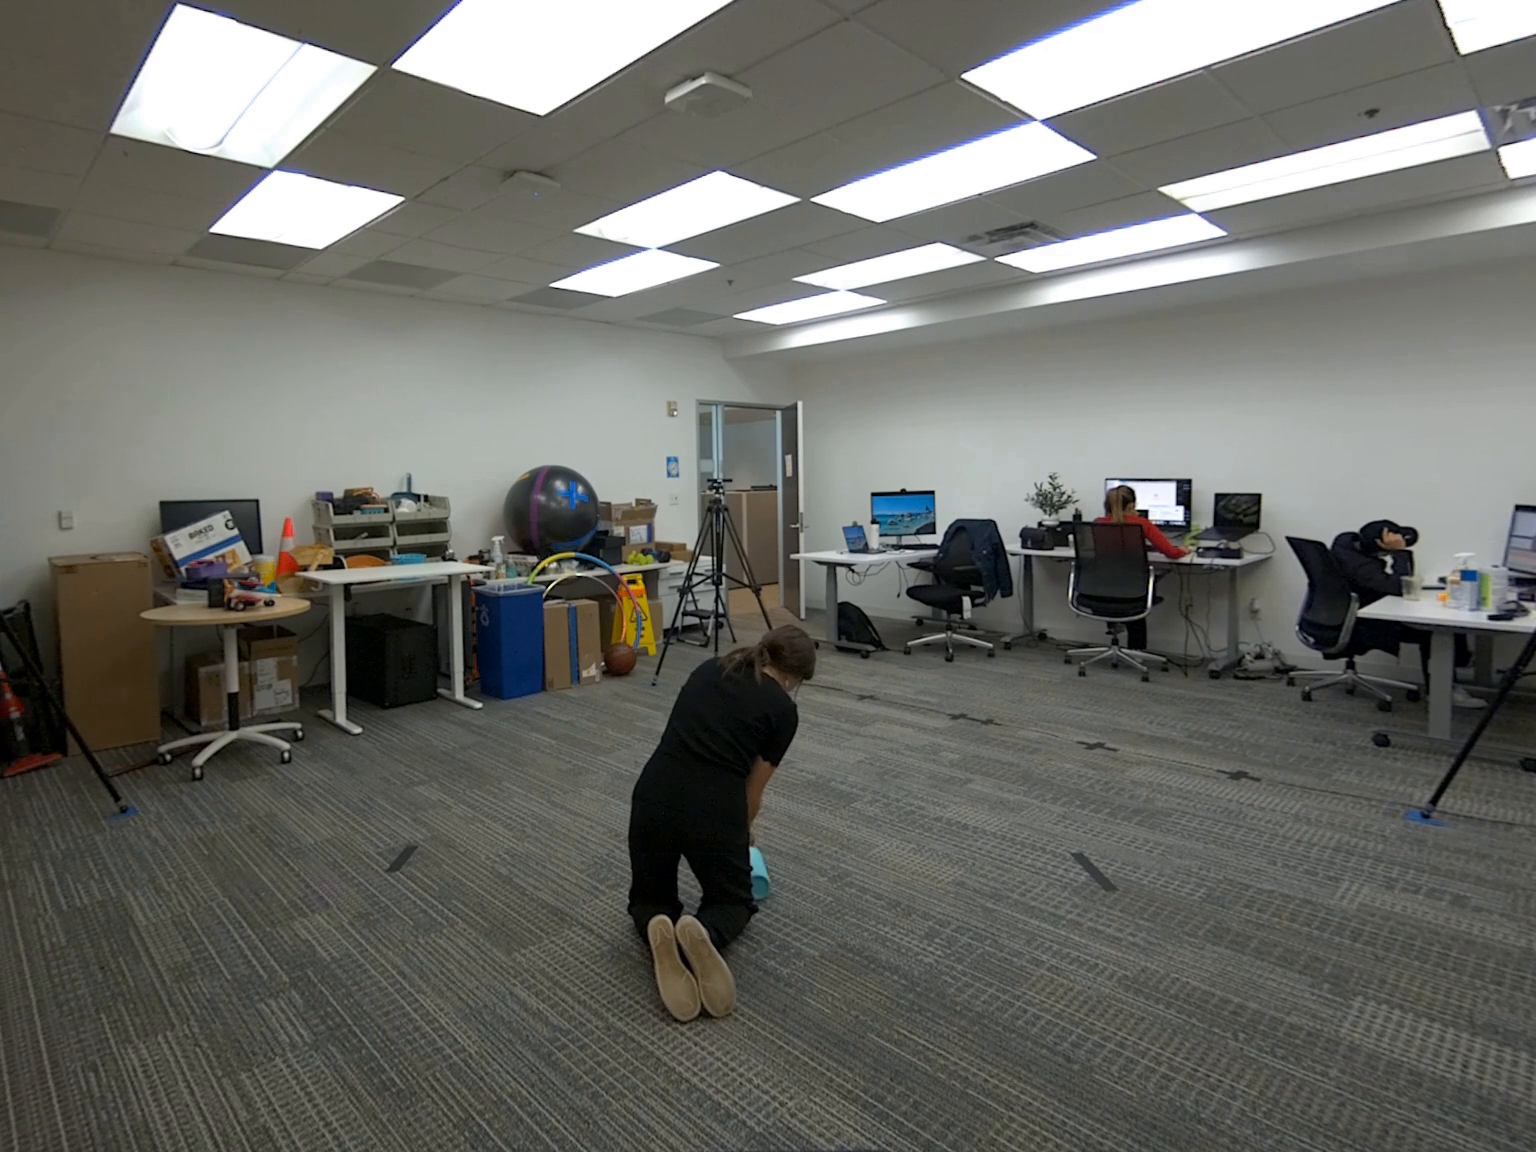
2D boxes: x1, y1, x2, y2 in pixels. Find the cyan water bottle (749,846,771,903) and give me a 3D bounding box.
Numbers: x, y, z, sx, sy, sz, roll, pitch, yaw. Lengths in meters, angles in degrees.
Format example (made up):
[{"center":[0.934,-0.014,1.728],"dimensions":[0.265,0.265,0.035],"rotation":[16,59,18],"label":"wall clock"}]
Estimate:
[{"center":[-0.053,1.016,2.965],"dimensions":[0.092,0.092,0.286],"rotation":[-2,7,-8],"label":"cyan water bottle"}]
